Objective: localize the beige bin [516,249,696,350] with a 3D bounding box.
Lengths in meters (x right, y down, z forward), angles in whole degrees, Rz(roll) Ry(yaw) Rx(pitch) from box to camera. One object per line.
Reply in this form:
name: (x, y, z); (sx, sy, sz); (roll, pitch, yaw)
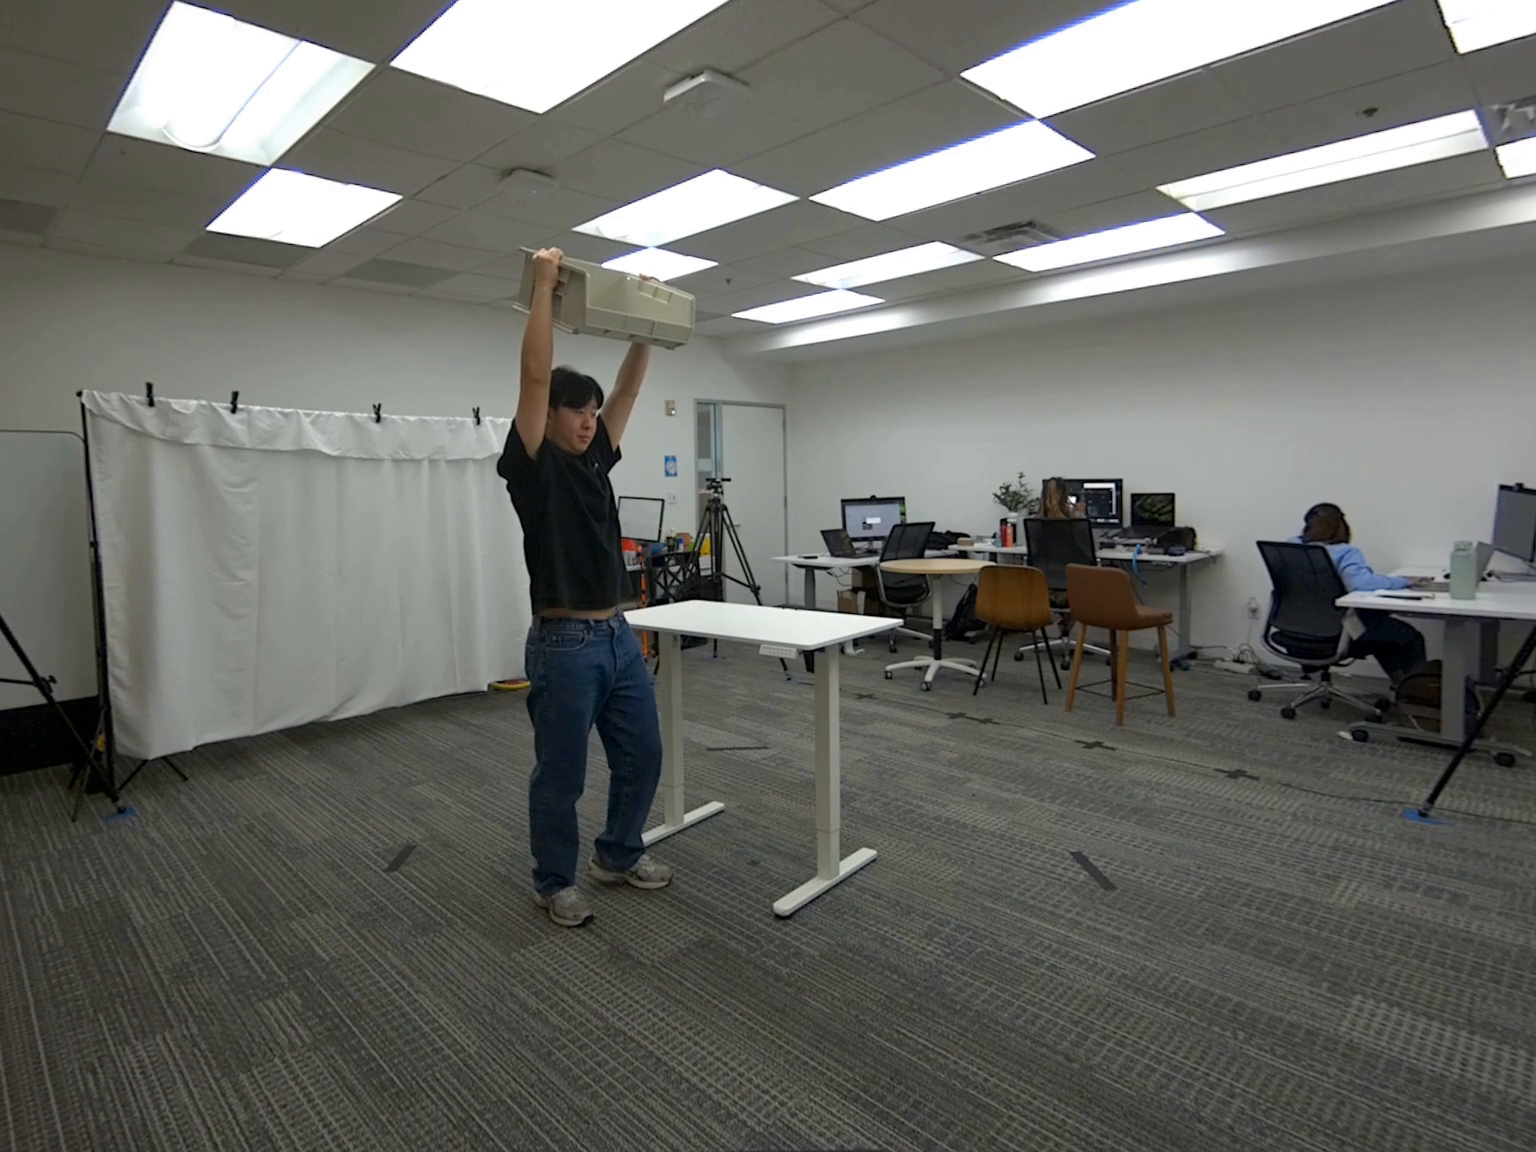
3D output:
beige bin: (-0.489, -0.834, 2.610); (0.392, 0.187, 0.411); (31, 25, 36)
